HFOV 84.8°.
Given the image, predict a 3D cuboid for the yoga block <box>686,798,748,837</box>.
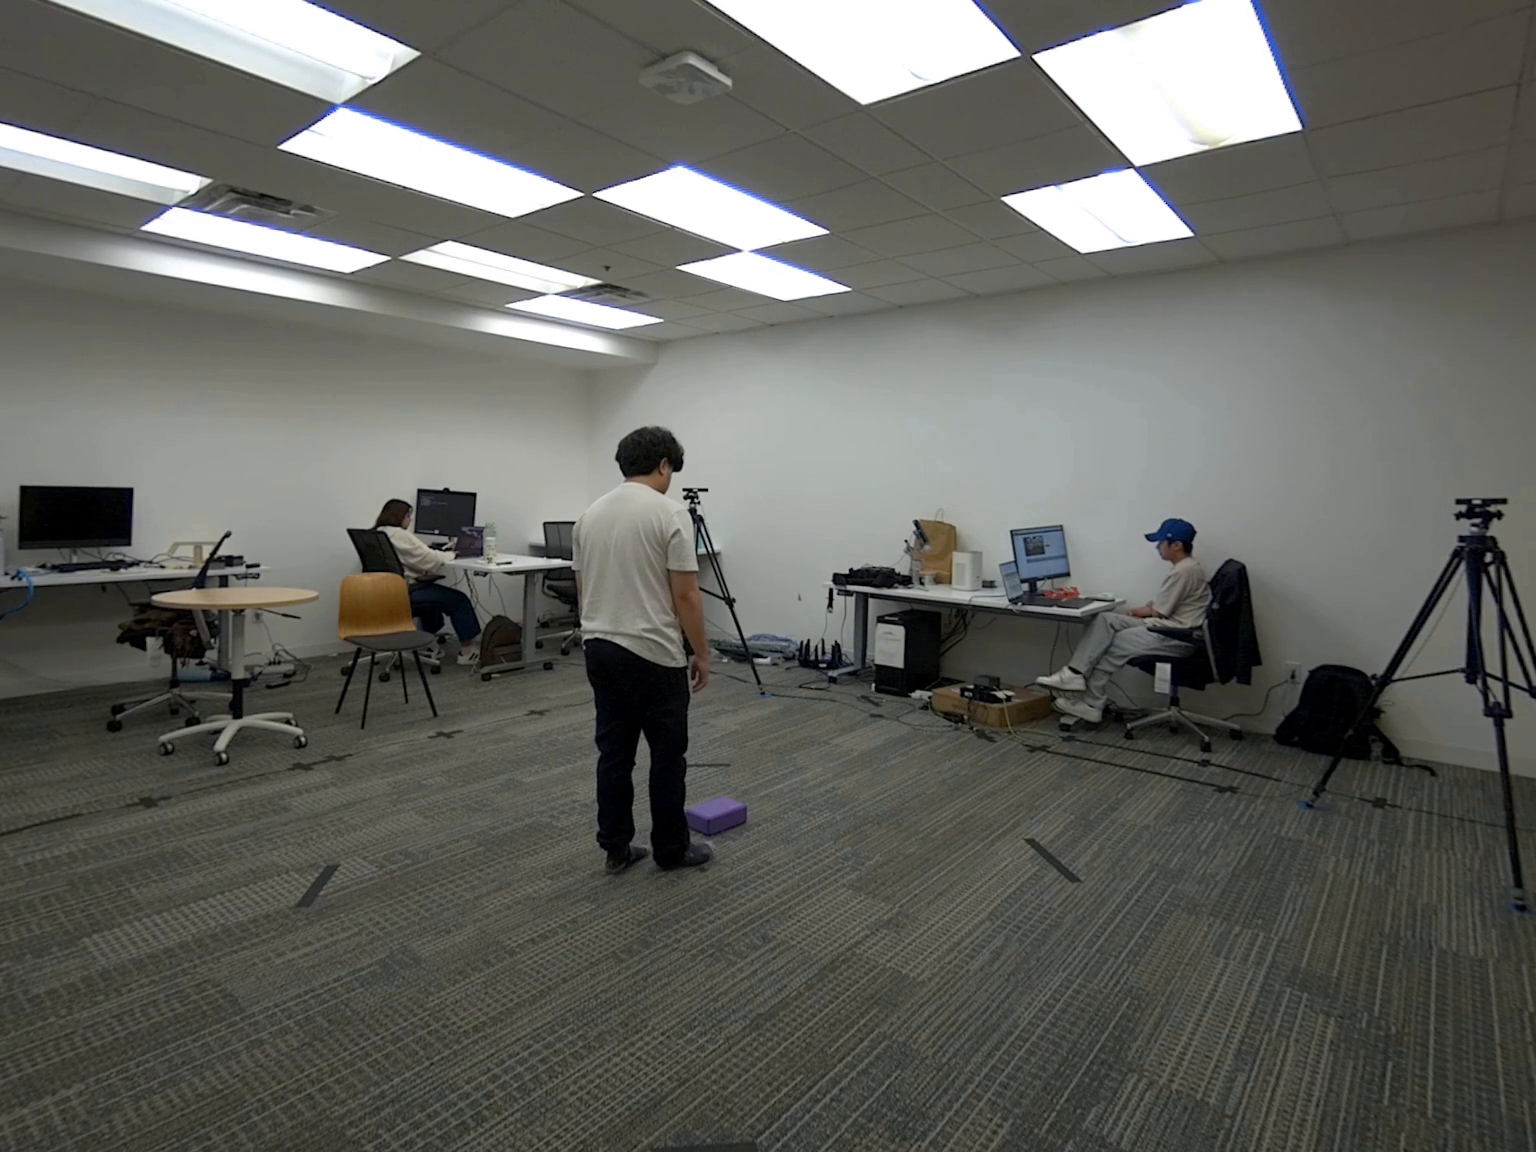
[{"bbox_3d":[-0.223,0.991,3.530,0.154,0.076,0.222,5,6,43],"label":"yoga block"}]
